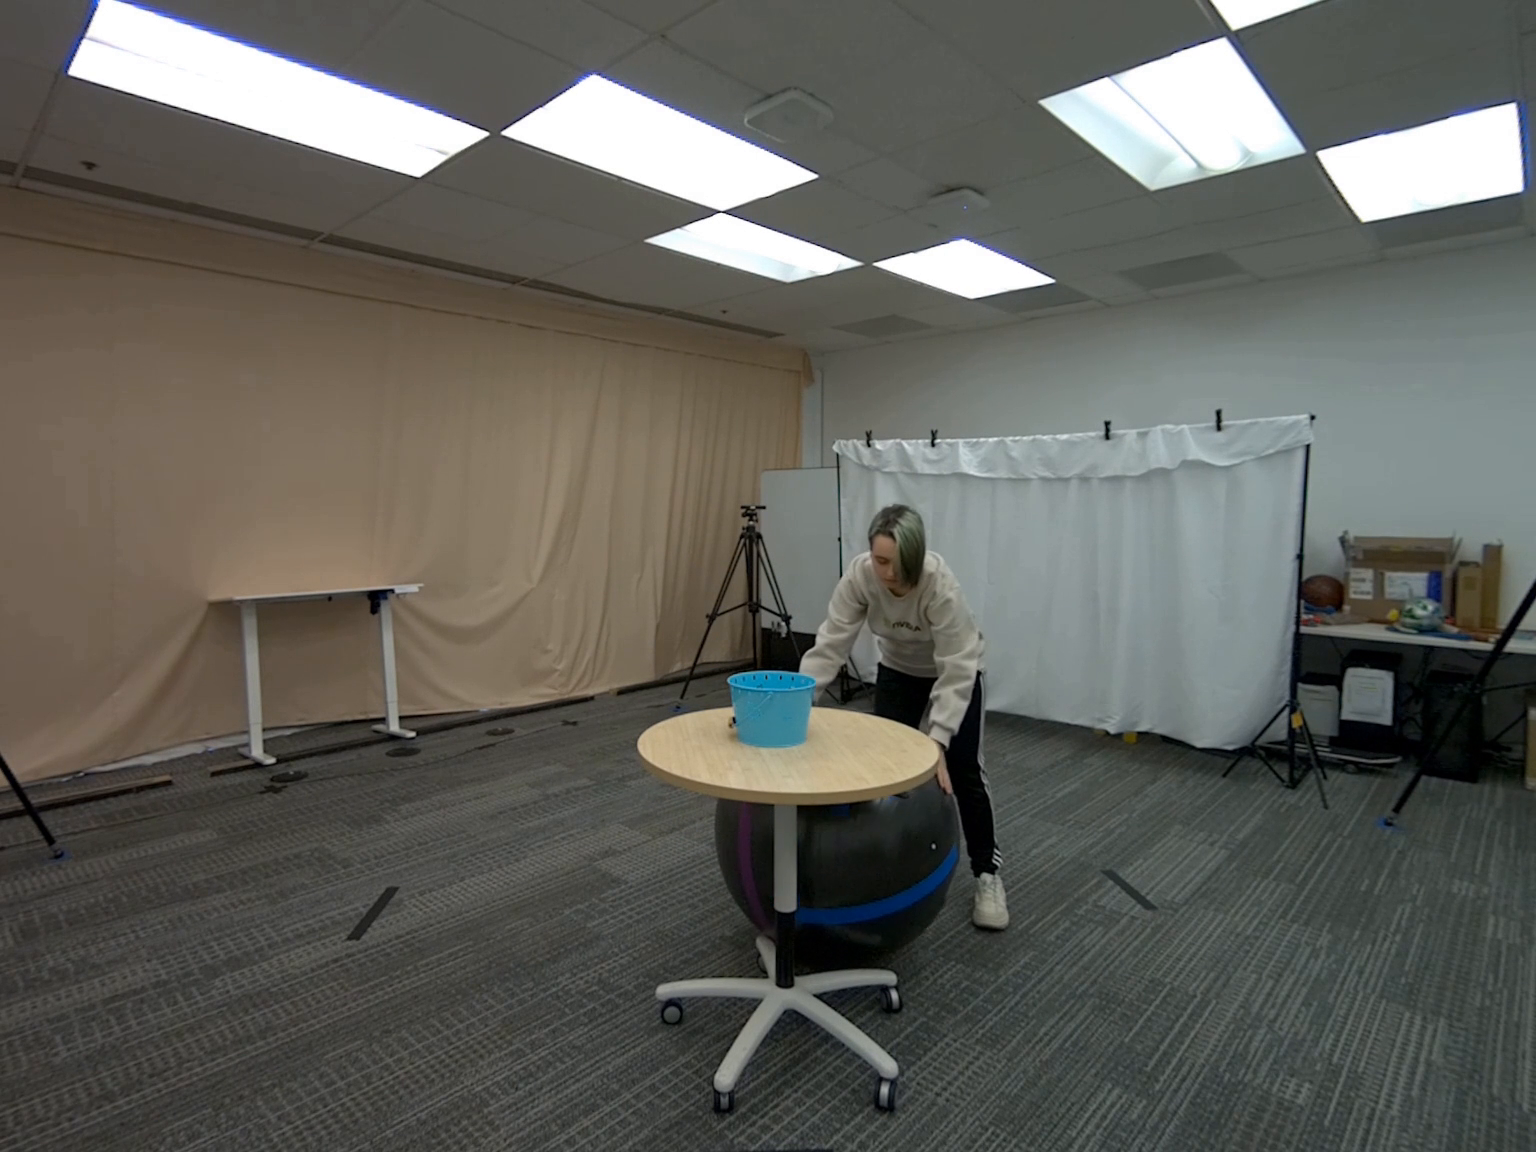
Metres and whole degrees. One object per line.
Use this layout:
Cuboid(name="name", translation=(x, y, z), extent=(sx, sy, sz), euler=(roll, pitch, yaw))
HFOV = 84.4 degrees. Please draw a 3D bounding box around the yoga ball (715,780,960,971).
Cuboid(name="yoga ball", translation=(0.216, 0.802, 2.648), extent=(0.757, 0.756, 0.761), euler=(0, 4, -2))
